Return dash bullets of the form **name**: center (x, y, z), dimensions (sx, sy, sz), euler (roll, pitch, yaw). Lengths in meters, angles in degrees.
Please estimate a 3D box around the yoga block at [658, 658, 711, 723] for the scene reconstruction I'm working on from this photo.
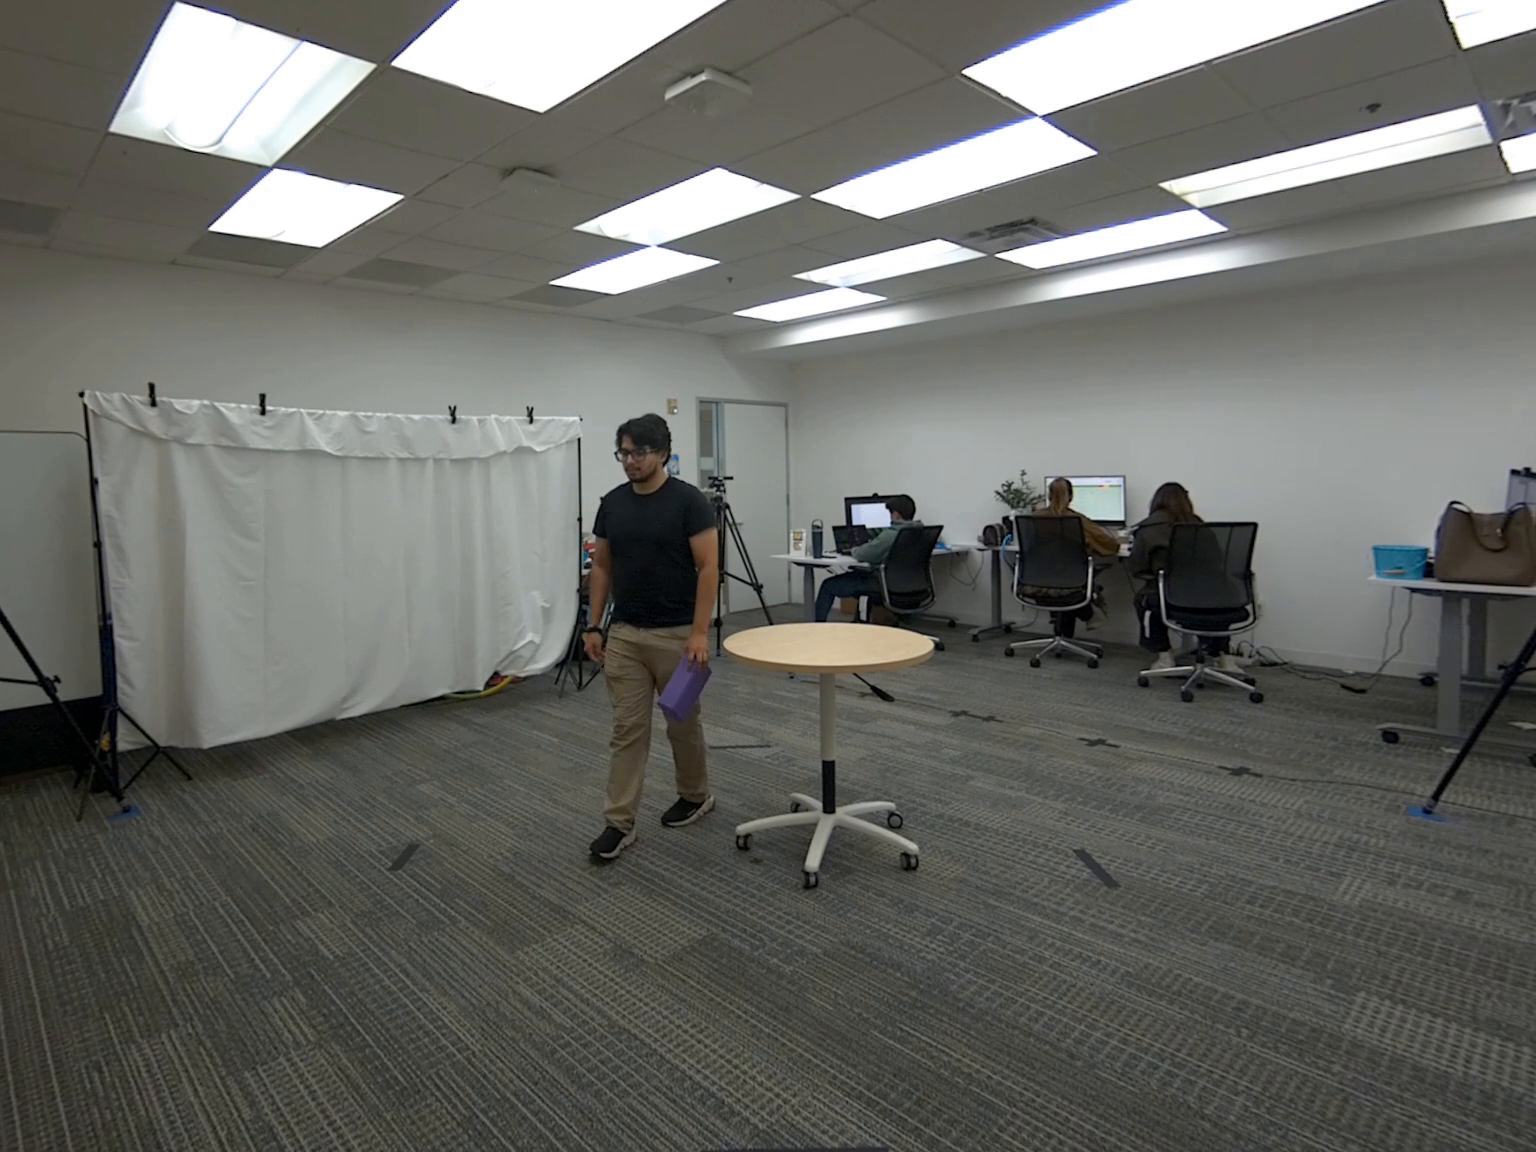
- **yoga block**: center (-0.303, 0.402, 3.131), dimensions (0.078, 0.230, 0.144), euler (22, -21, 23)
